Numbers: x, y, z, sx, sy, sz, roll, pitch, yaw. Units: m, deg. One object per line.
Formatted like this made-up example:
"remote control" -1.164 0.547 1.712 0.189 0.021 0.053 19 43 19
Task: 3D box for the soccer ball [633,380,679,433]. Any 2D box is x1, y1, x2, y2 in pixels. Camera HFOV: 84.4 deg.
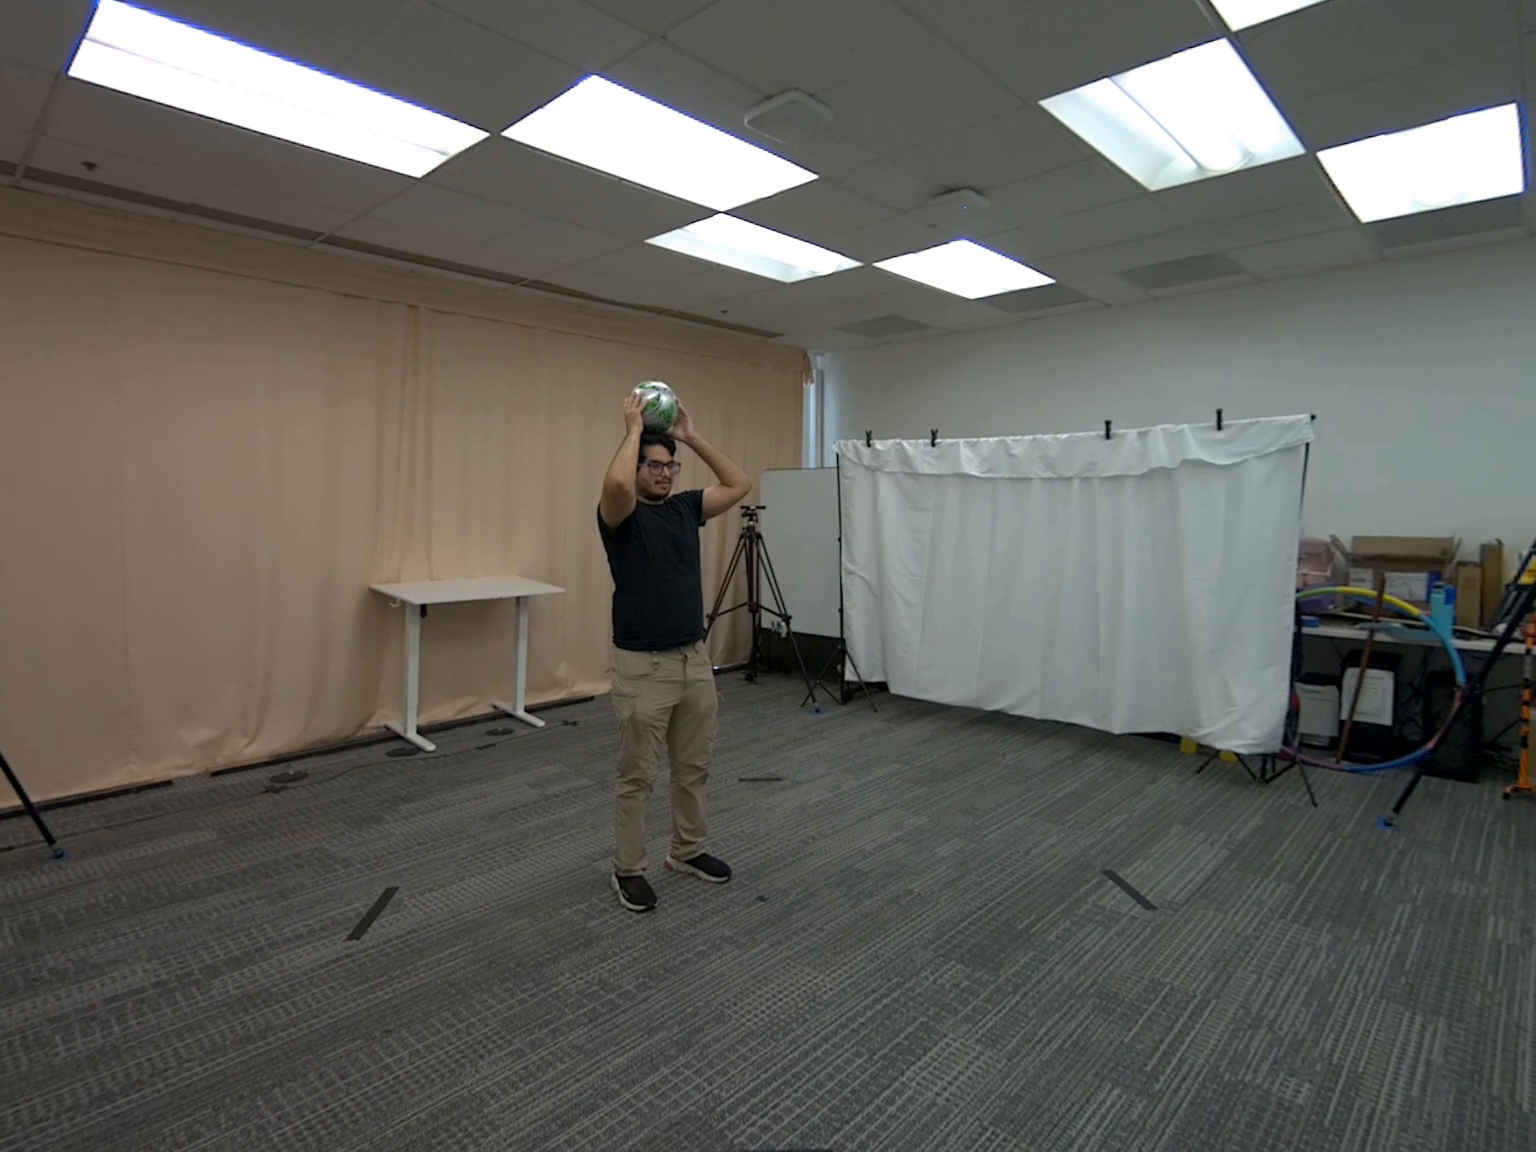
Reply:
"soccer ball" -0.407 -0.593 2.973 0.187 0.187 0.188 0 4 -2
